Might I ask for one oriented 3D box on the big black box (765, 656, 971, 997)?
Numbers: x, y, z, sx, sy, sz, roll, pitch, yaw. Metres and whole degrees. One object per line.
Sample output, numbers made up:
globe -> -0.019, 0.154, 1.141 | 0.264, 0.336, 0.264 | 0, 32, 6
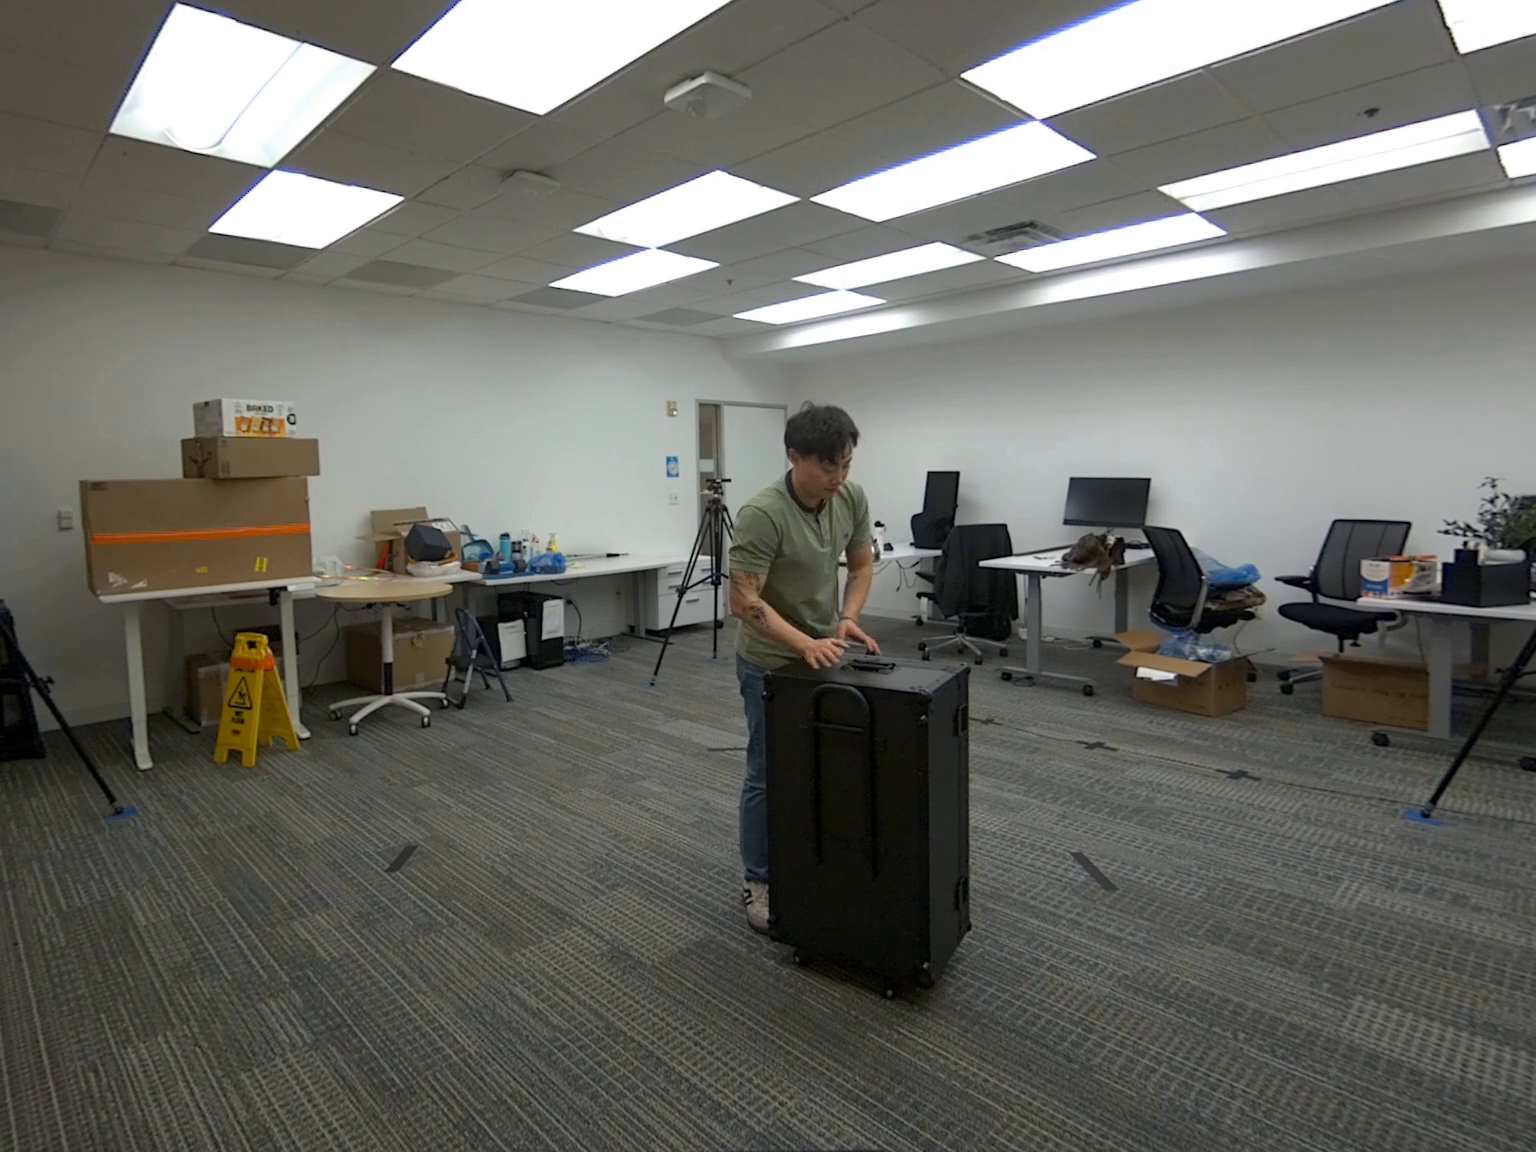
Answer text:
big black box -> 0.299, 0.691, 2.438 | 0.535, 0.858, 0.387 | 1, 5, 32
